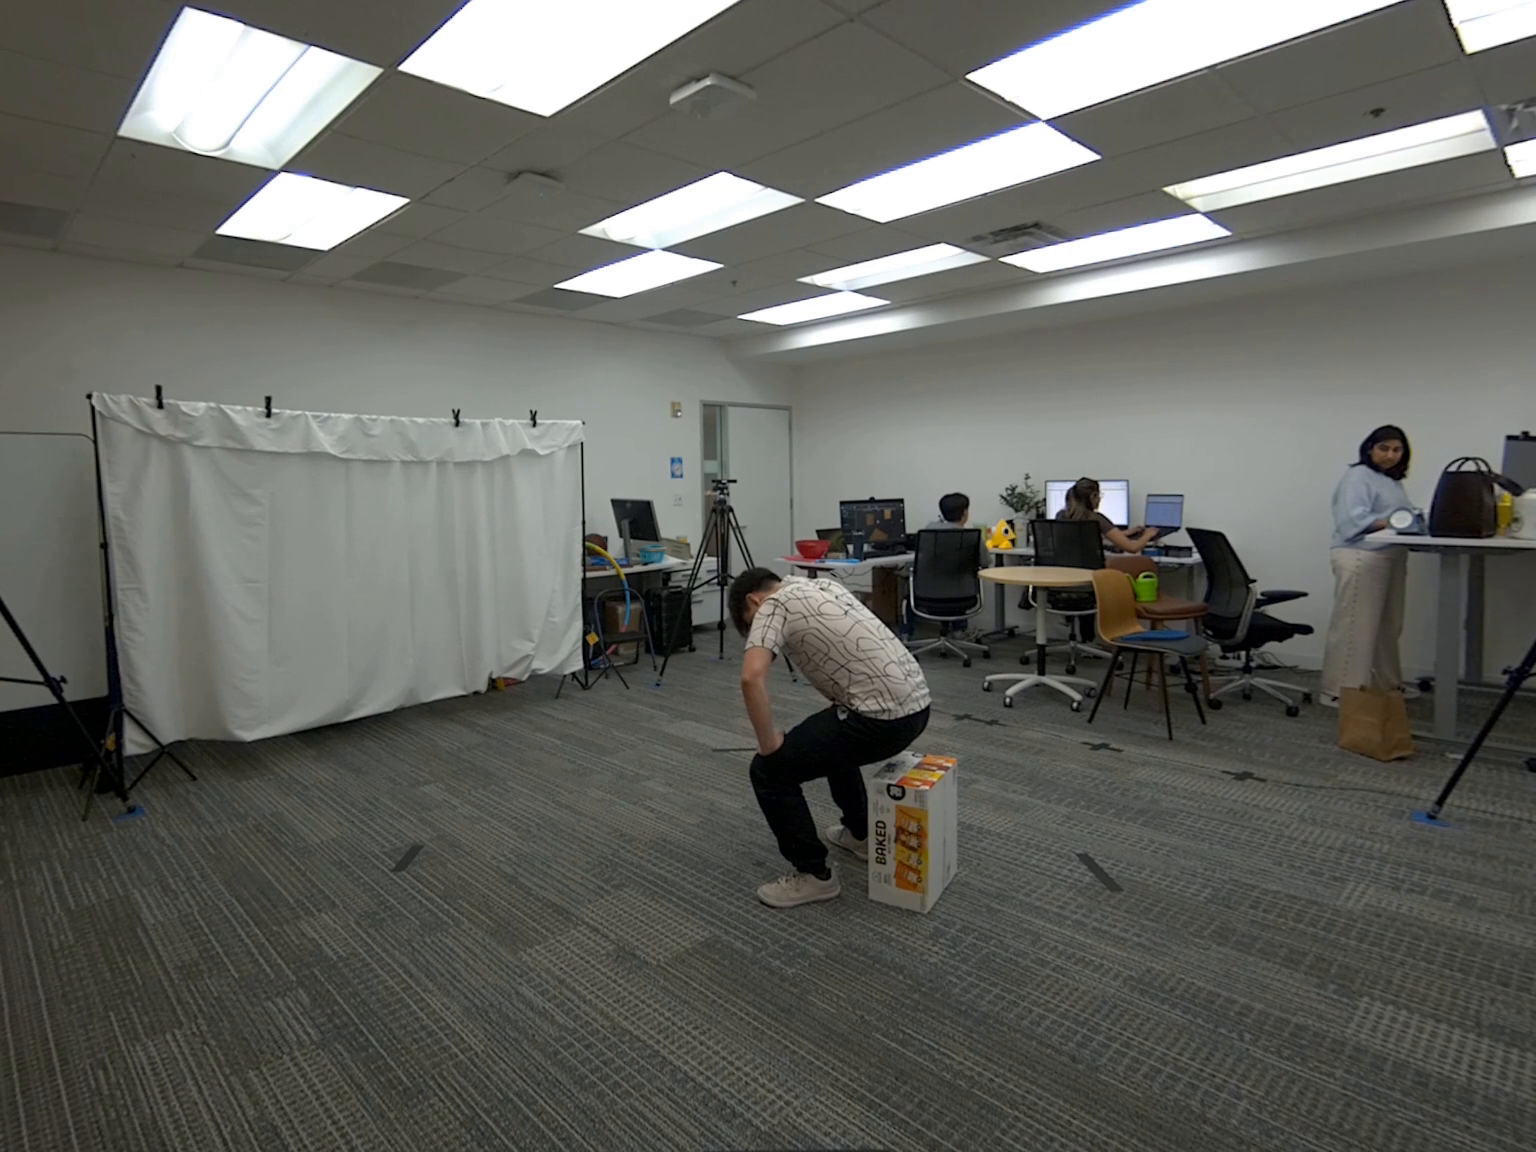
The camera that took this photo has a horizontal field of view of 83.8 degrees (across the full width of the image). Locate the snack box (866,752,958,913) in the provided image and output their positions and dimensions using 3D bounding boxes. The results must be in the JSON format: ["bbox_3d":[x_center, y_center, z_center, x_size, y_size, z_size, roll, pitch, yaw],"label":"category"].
[{"bbox_3d":[0.504,0.857,2.911,0.211,0.404,0.333,1,5,29],"label":"snack box"}]
